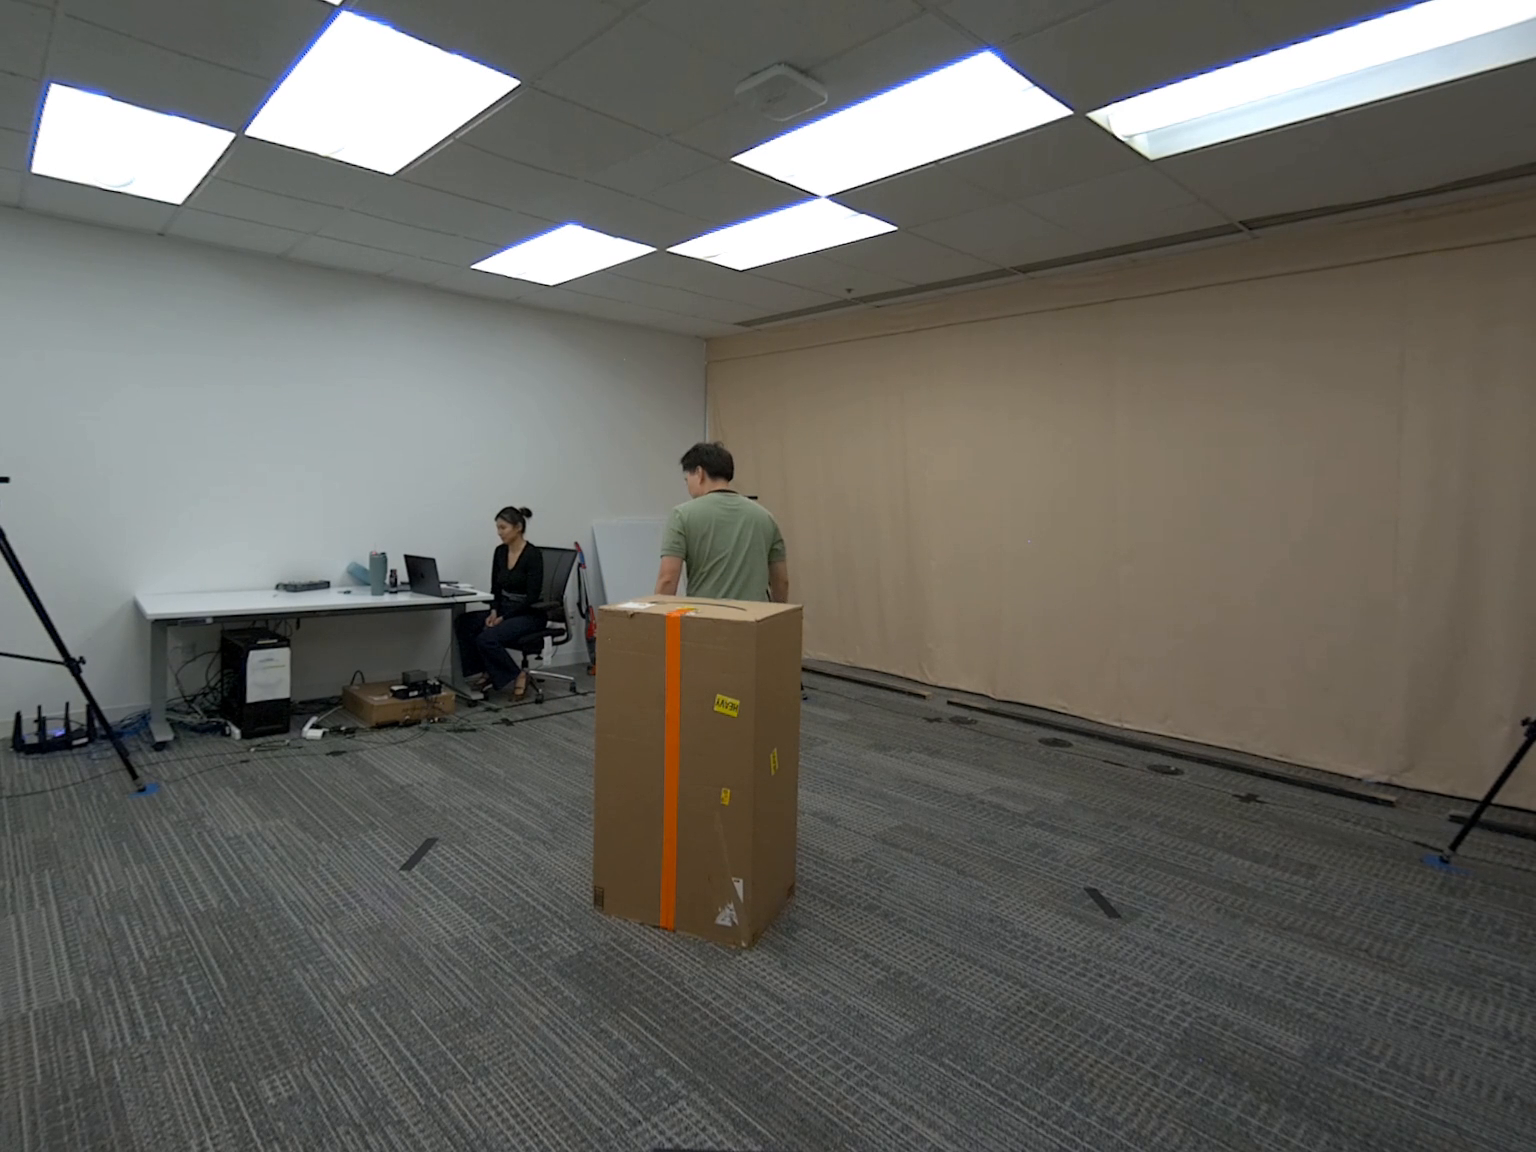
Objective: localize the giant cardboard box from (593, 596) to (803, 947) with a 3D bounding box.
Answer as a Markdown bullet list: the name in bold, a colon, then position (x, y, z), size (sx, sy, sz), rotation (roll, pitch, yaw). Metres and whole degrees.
- **giant cardboard box**: position (-0.236, 0.611, 2.855), size (0.588, 1.023, 0.419), rotation (2, 4, 25)
